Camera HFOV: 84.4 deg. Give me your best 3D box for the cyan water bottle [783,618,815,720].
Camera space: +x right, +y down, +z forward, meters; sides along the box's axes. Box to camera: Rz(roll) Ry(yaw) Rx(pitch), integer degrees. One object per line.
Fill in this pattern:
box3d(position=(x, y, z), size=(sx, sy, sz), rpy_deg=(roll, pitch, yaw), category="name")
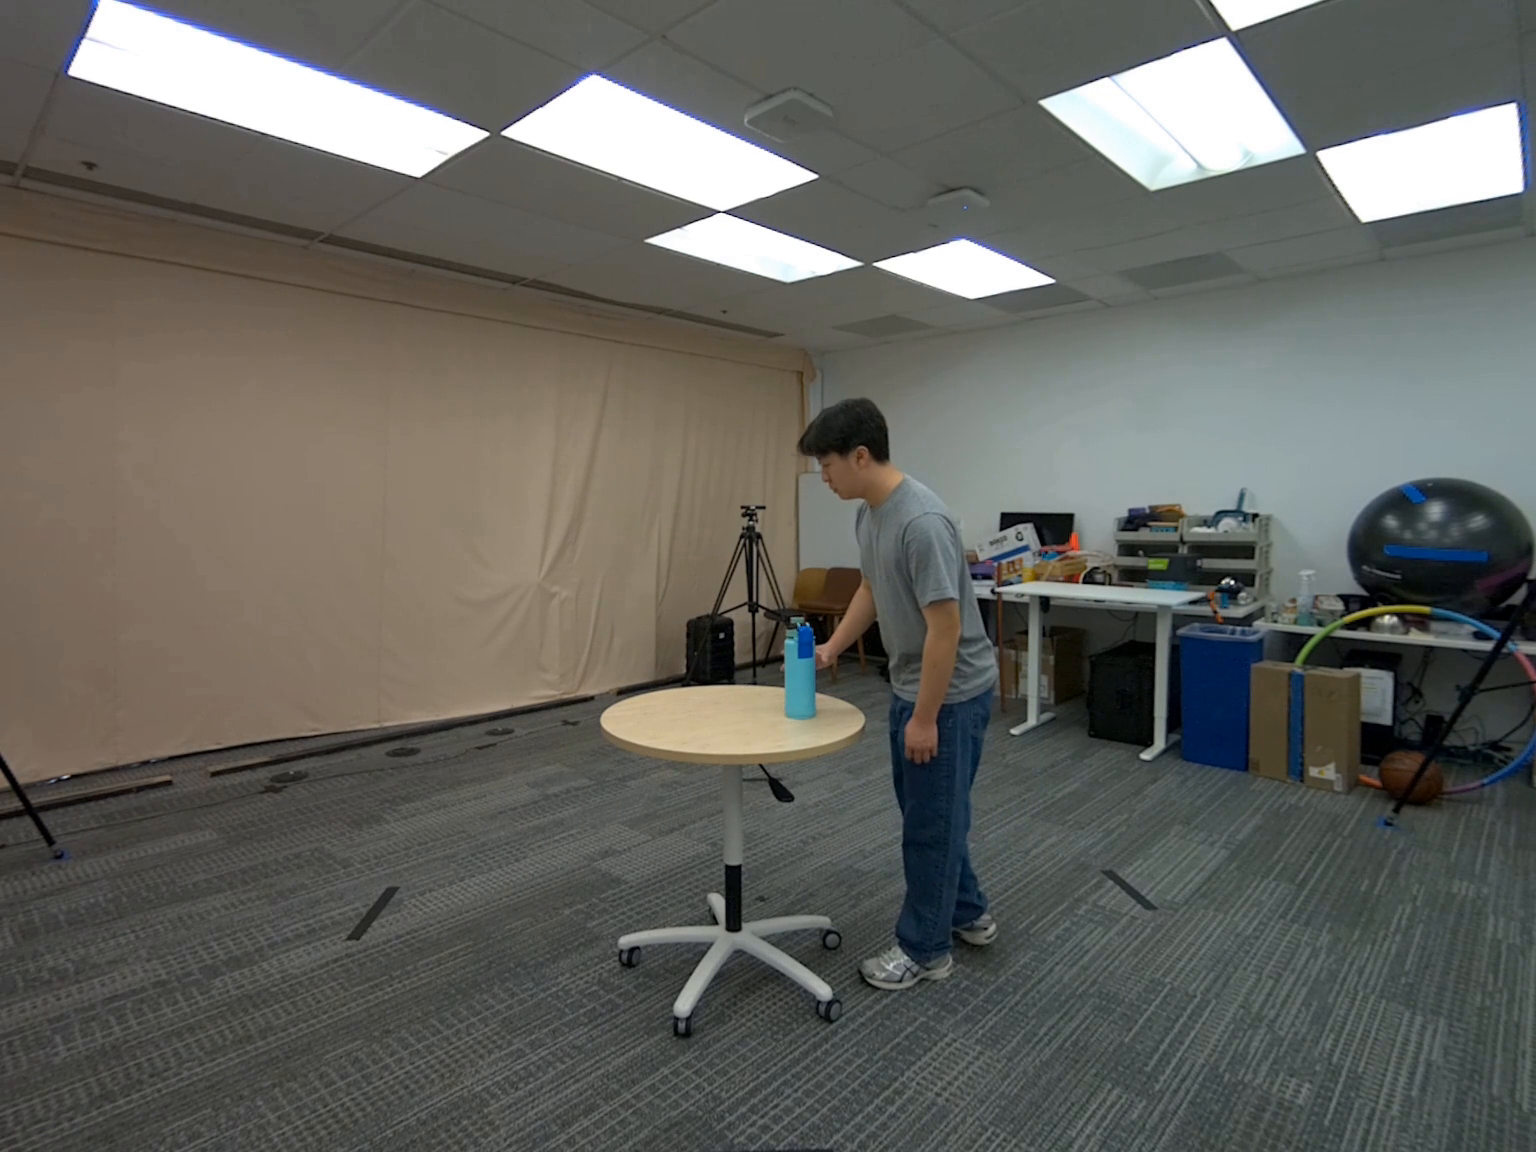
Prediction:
box3d(position=(0.102, 0.269, 2.435), size=(0.092, 0.282, 0.093), rpy_deg=(1, 6, -2), category="cyan water bottle")
